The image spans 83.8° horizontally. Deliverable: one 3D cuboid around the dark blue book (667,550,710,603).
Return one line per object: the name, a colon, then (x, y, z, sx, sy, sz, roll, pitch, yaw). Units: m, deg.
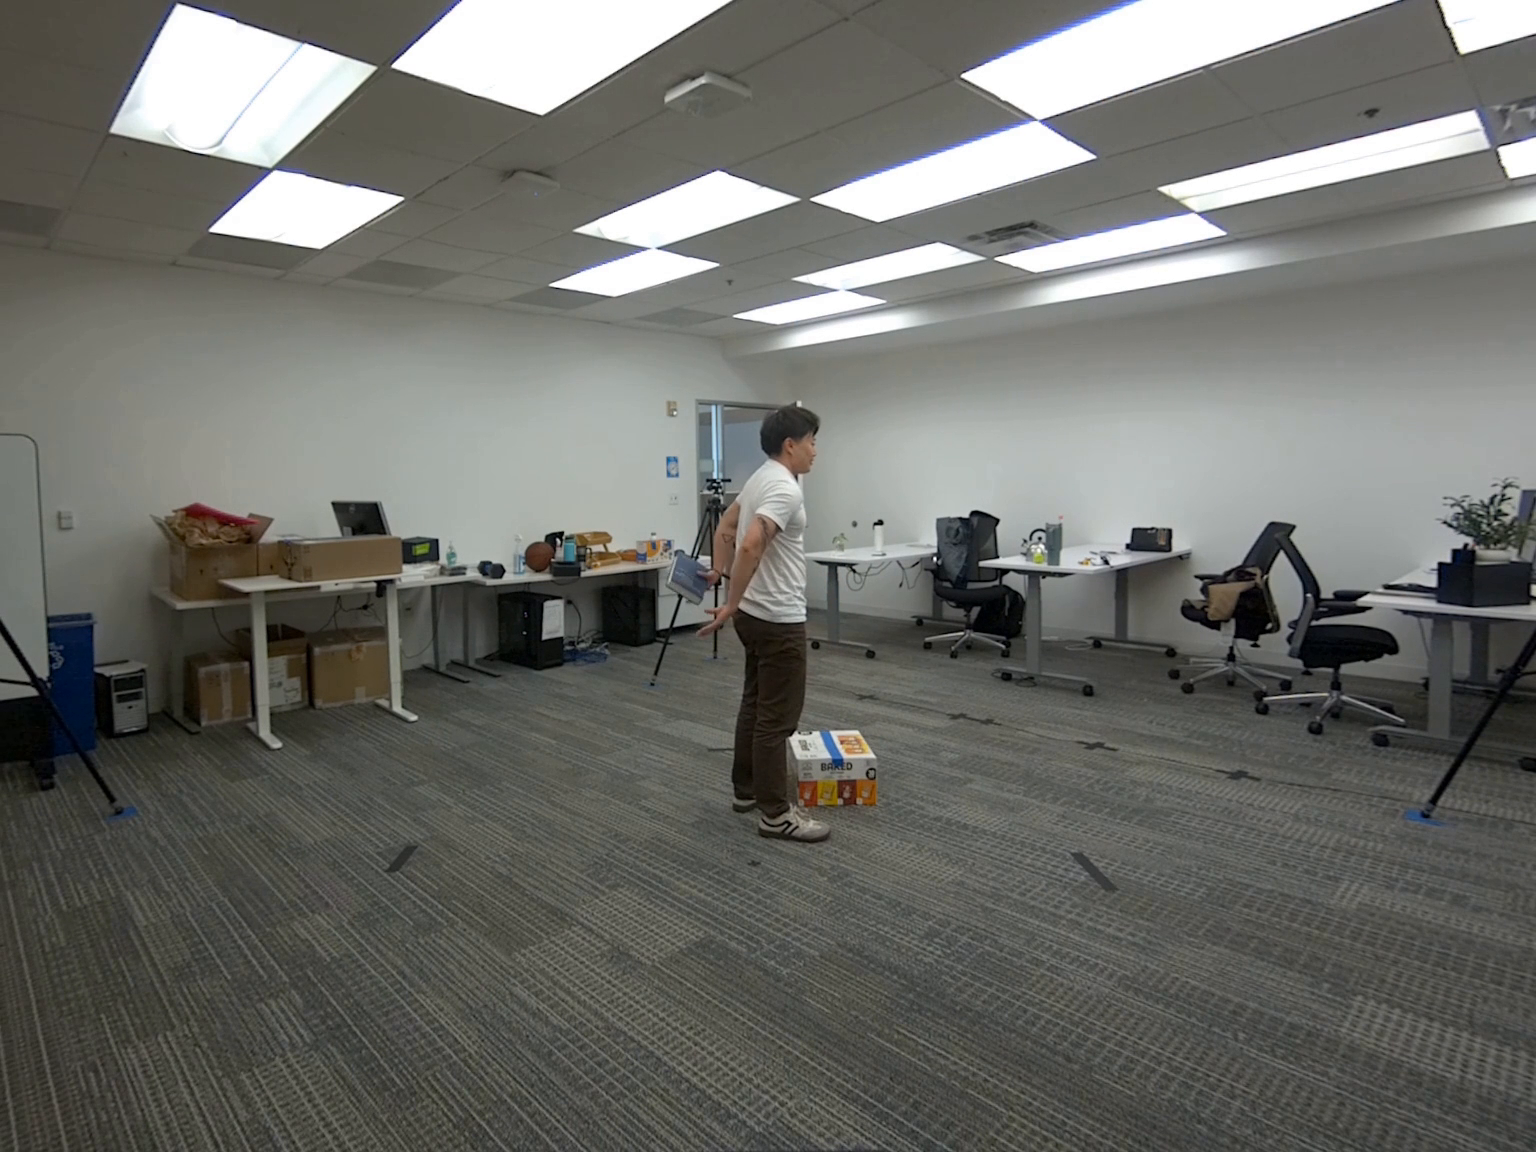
dark blue book: (-0.331, 0.004, 3.658, 0.161, 0.045, 0.250, 32, 27, -14)
